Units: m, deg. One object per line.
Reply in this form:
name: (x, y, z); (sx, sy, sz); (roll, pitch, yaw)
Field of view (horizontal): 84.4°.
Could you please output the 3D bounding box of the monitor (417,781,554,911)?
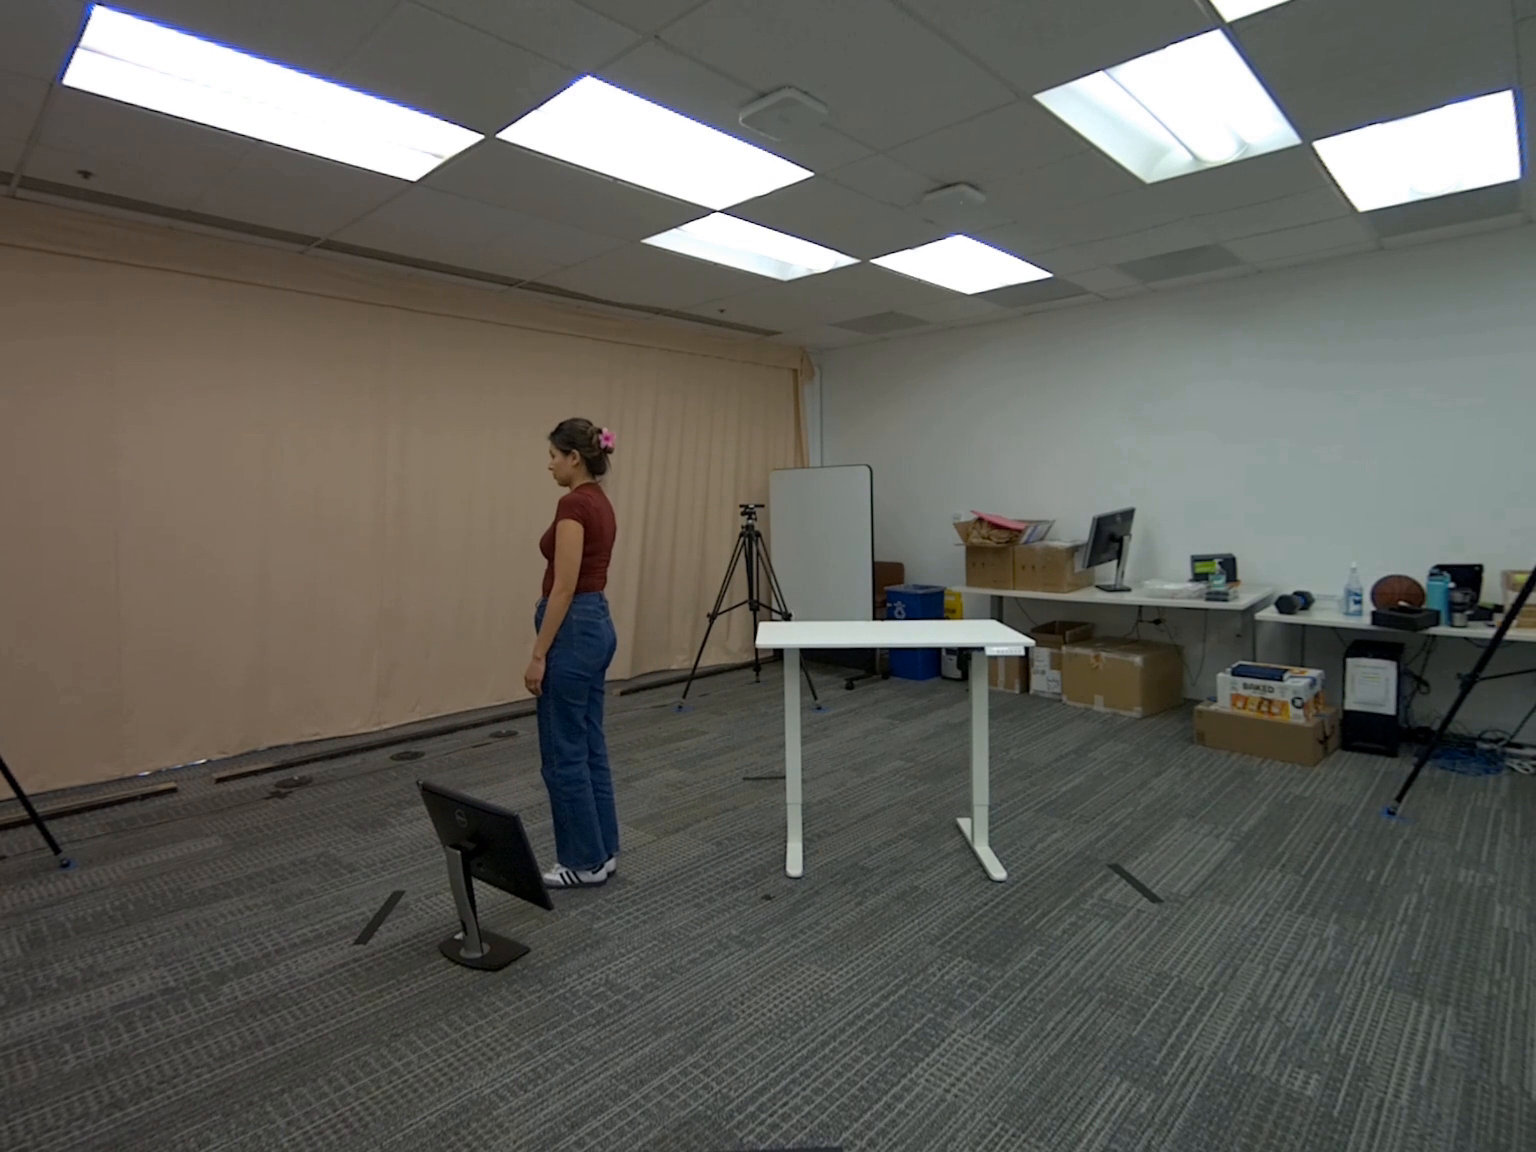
monitor: (-0.917, 0.931, 2.643); (0.556, 0.520, 0.182); (1, 7, 36)
